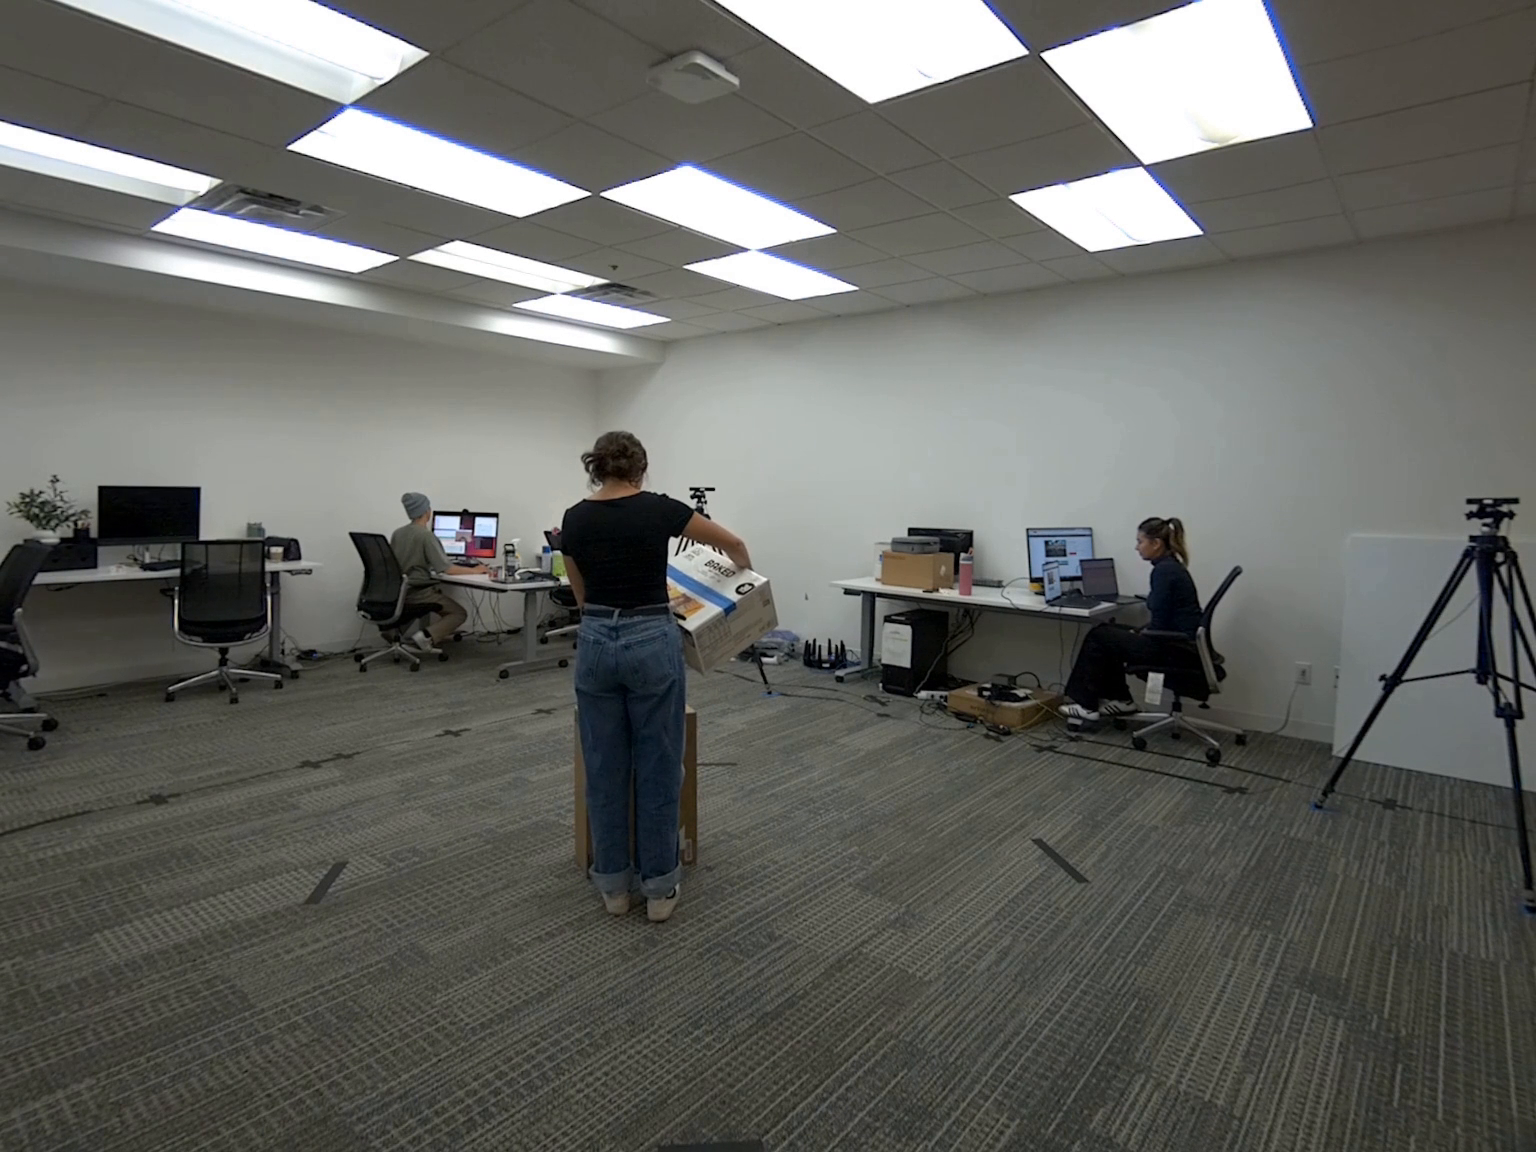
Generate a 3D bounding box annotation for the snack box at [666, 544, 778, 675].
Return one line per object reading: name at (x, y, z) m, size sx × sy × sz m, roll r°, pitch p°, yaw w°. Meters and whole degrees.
snack box at (-0.246, 0.107, 2.976) m, size 0.337 × 0.199 × 0.422 m, roll -33°, pitch 38°, yaw -27°
